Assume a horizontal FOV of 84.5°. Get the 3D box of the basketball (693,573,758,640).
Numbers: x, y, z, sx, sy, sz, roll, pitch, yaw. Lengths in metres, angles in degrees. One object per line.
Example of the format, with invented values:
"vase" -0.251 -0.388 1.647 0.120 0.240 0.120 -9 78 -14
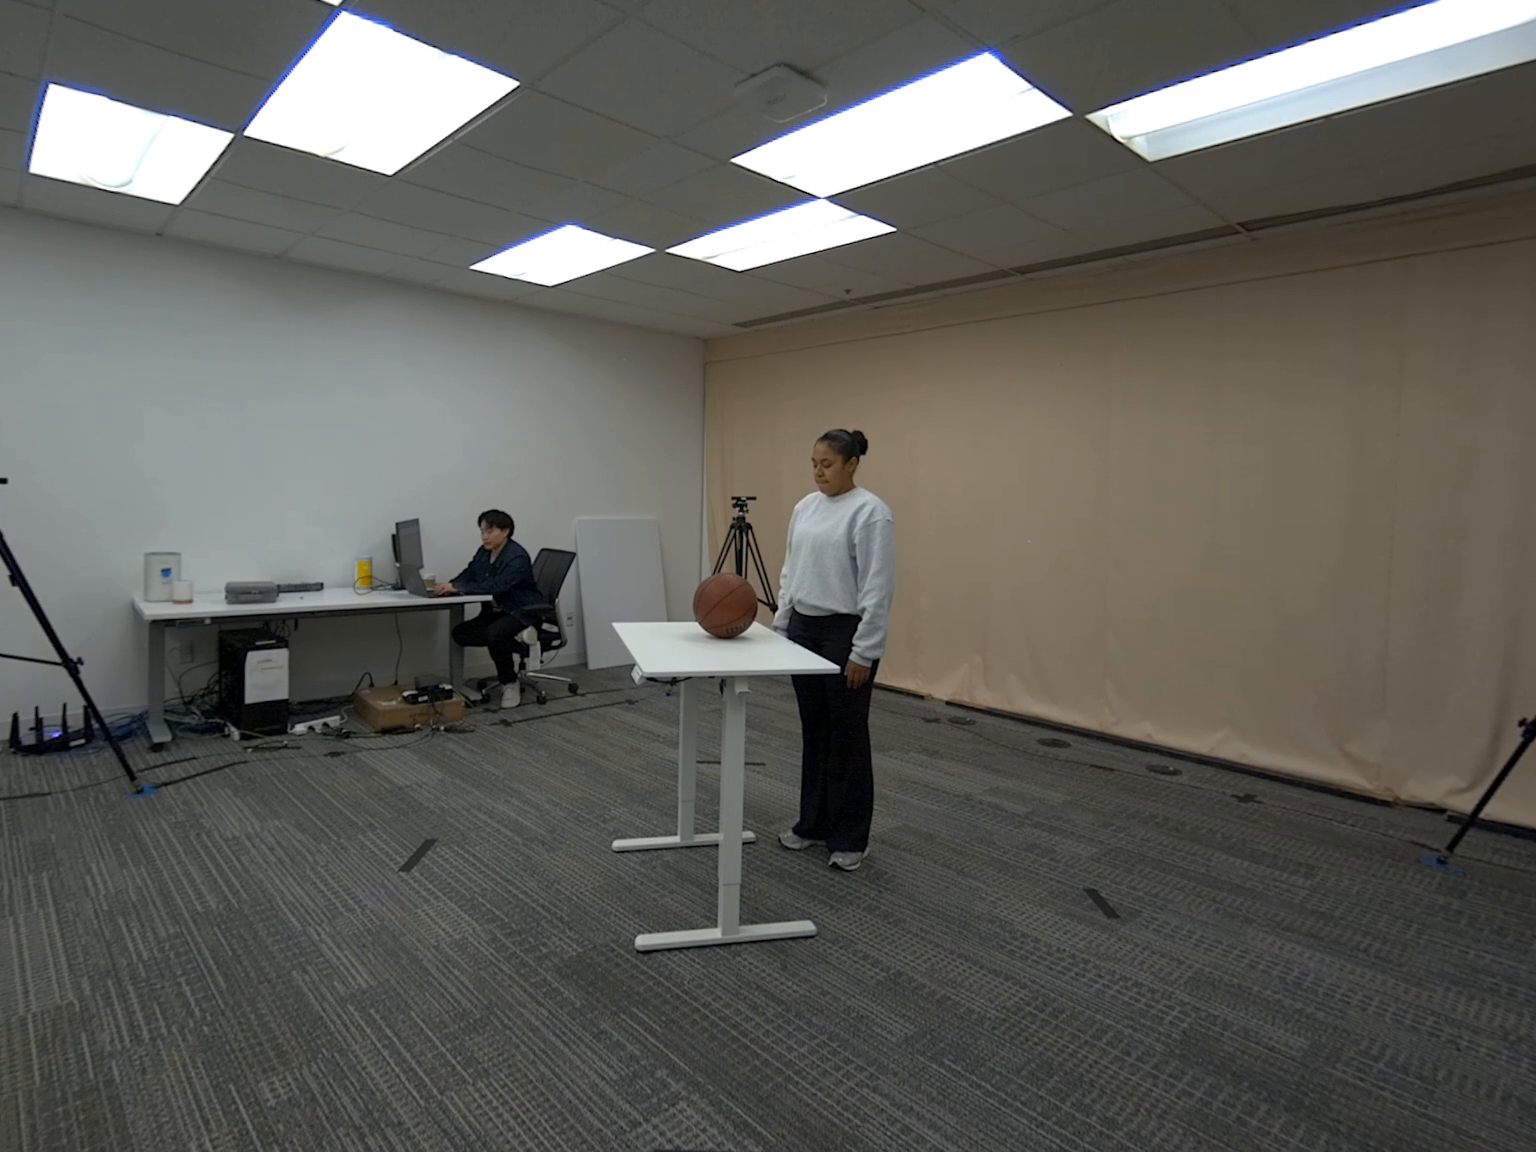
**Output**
"basketball" -0.161 0.108 3.075 0.236 0.235 0.237 1 4 -1
